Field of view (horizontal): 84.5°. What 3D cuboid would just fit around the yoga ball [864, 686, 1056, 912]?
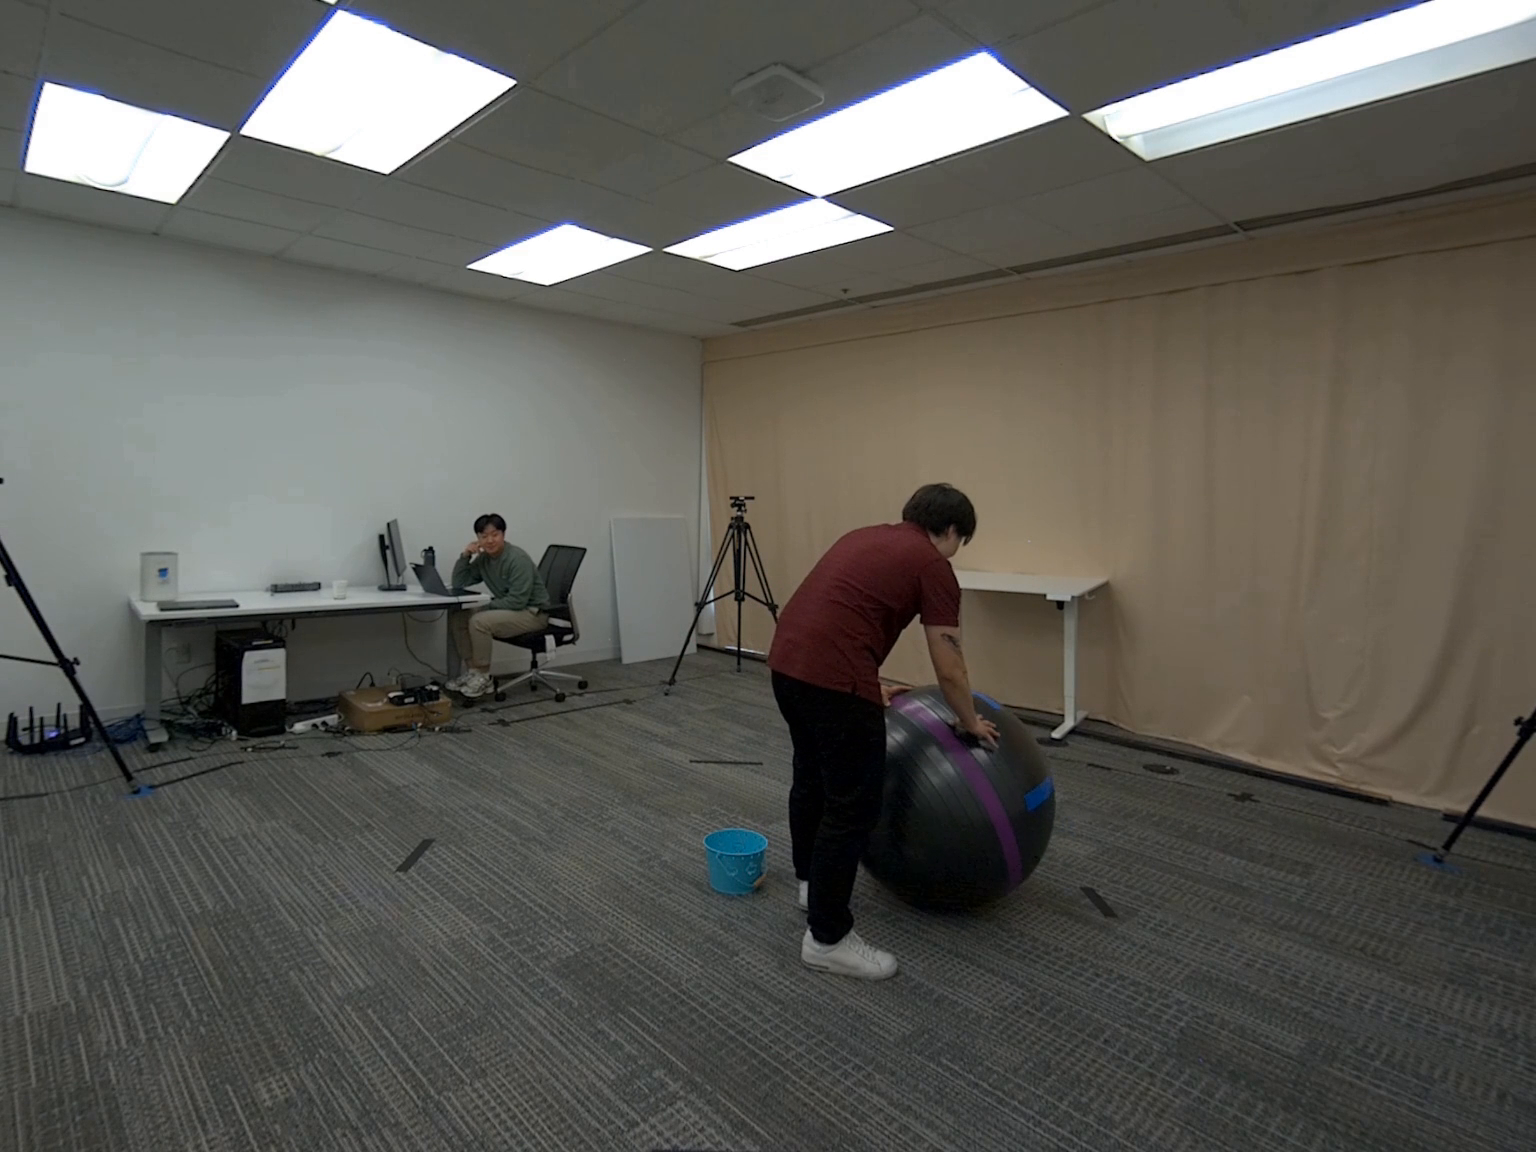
[{"bbox_3d":[0.613,0.773,2.982,0.757,0.756,0.761,1,4,-1],"label":"yoga ball"}]
